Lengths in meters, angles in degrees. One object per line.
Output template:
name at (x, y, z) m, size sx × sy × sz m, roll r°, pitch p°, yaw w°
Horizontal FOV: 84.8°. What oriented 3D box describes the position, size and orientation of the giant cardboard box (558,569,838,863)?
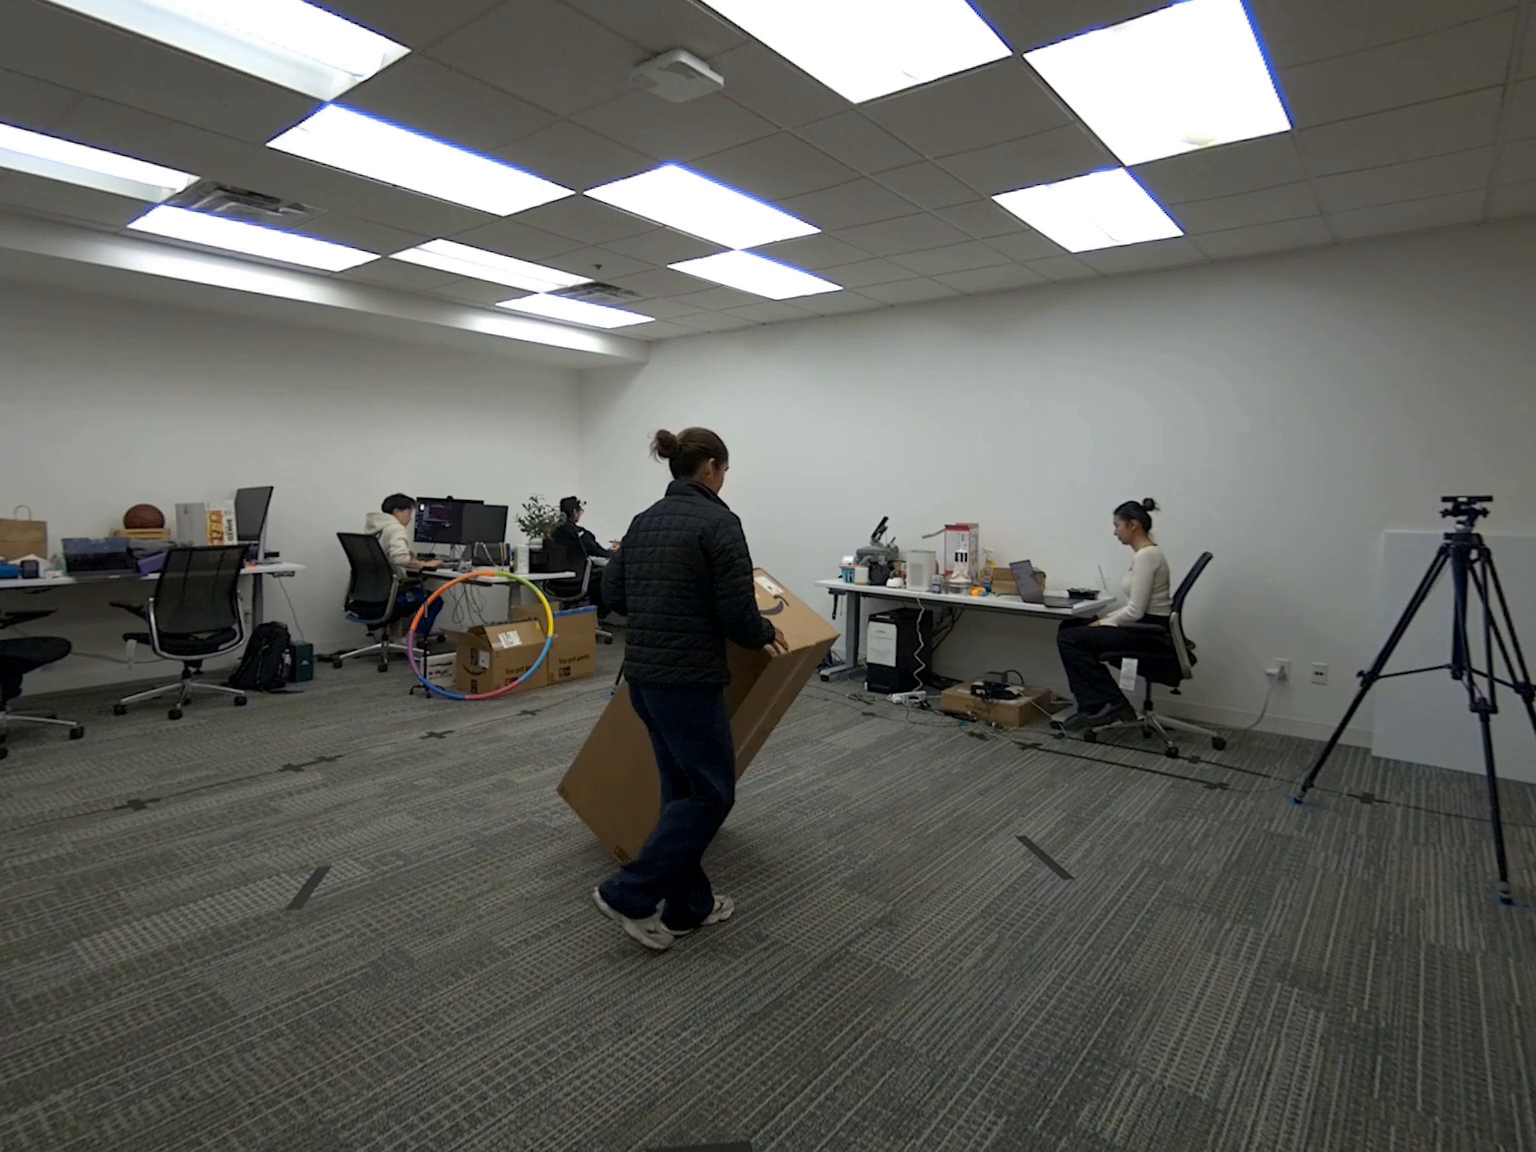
giant cardboard box at (-0.253, 0.513, 3.241) m, size 0.439 × 1.021 × 0.563 m, roll 40°, pitch 20°, yaw 21°
